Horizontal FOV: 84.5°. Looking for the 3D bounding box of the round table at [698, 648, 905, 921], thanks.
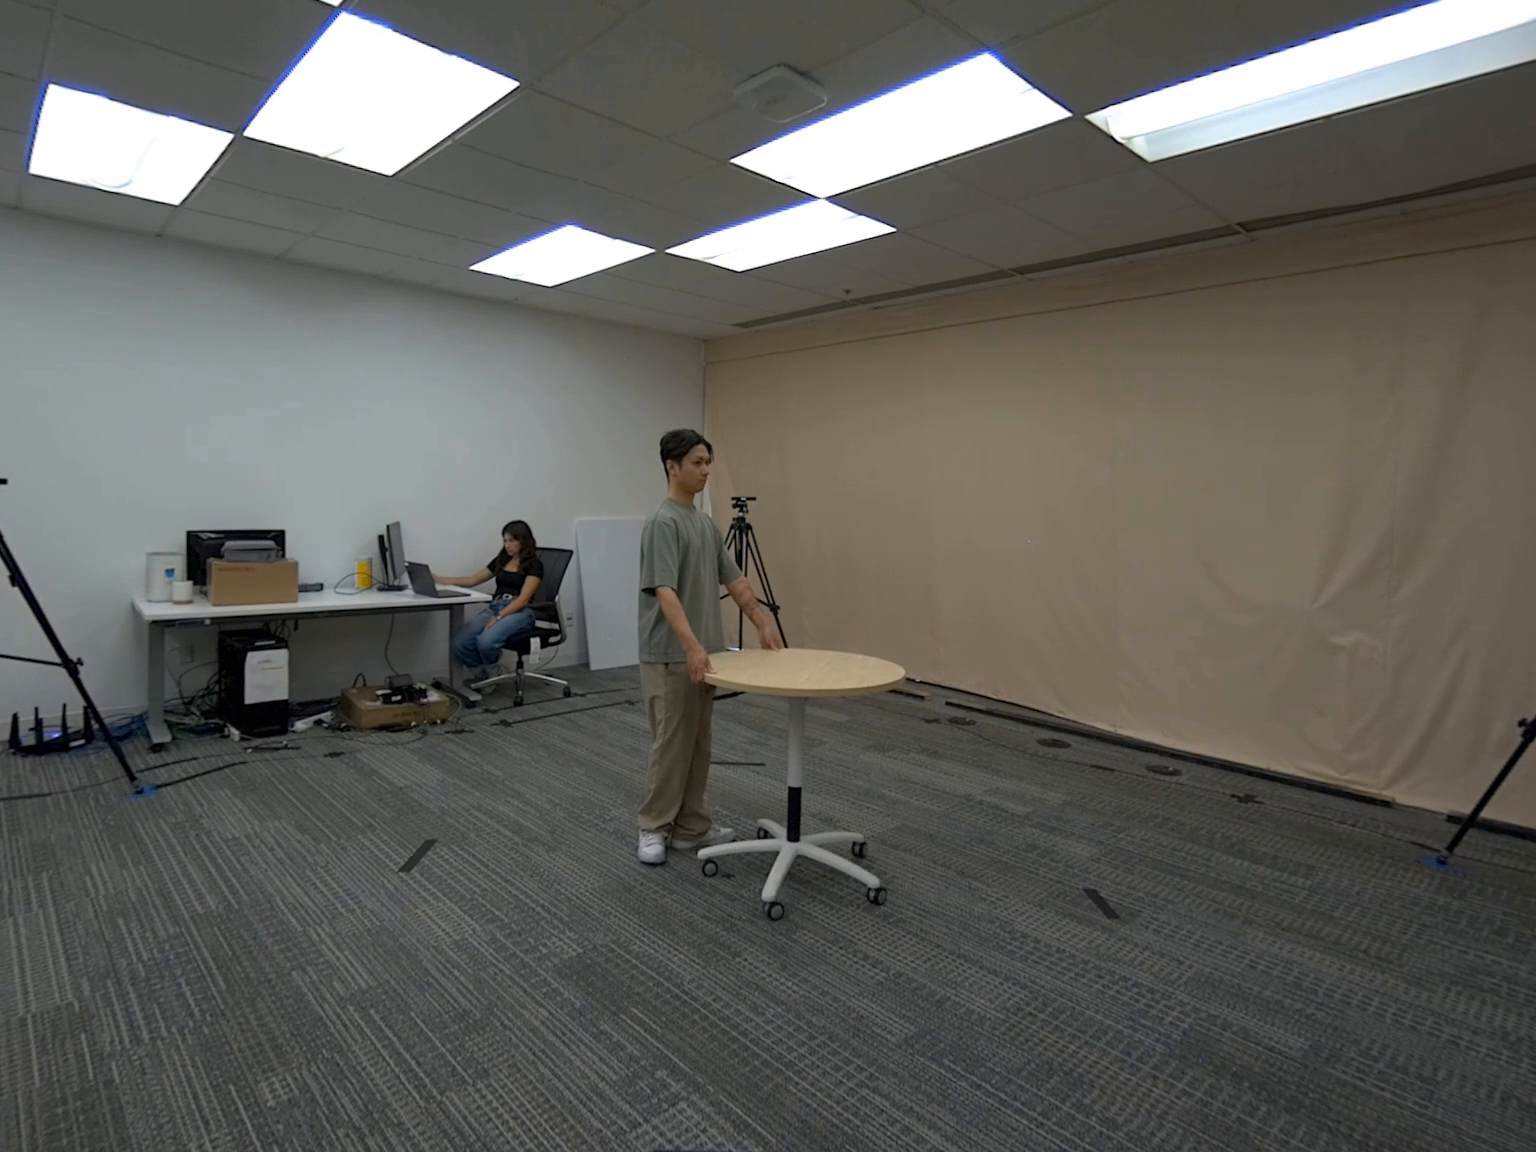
[{"bbox_3d":[0.107,0.720,3.074,0.784,0.785,0.787,1,4,-1],"label":"round table"}]
